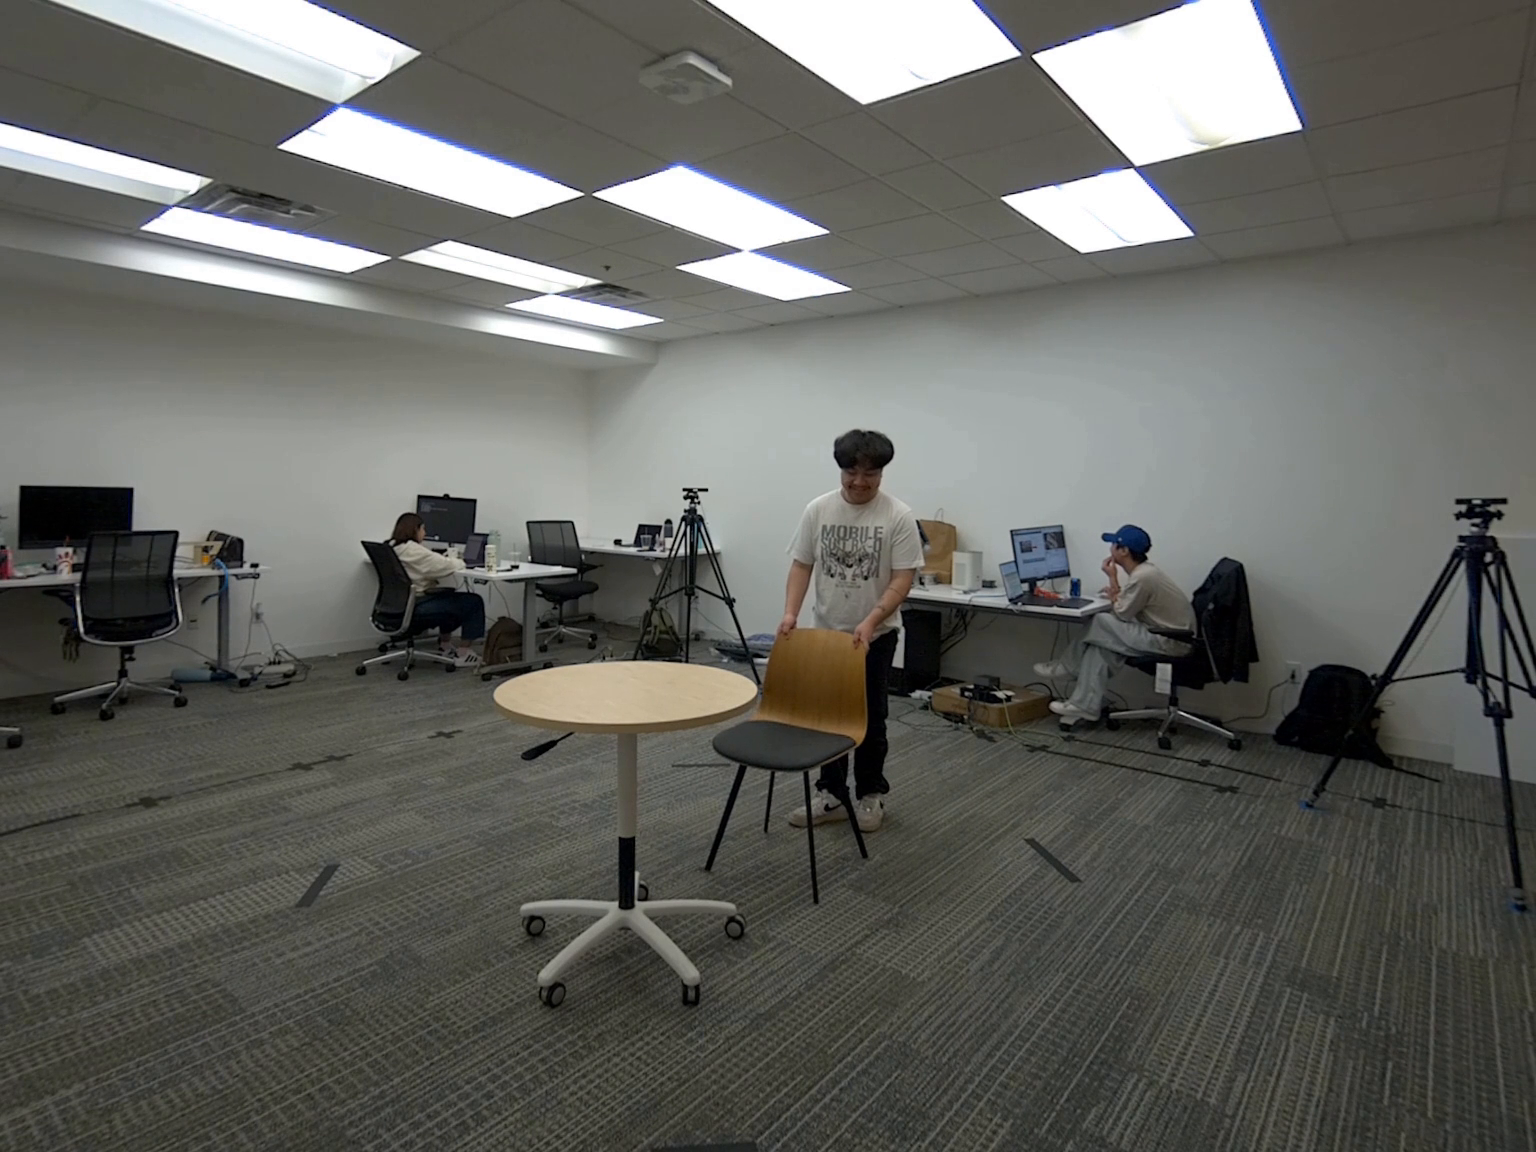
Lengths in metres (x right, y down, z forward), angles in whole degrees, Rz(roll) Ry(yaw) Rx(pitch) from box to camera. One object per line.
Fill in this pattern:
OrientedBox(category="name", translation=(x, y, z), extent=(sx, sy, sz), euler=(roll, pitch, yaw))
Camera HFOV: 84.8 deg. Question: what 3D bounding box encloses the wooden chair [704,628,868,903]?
OrientedBox(category="wooden chair", translation=(0.072, 0.642, 3.135), extent=(0.493, 0.878, 0.507), euler=(4, -1, 31))
